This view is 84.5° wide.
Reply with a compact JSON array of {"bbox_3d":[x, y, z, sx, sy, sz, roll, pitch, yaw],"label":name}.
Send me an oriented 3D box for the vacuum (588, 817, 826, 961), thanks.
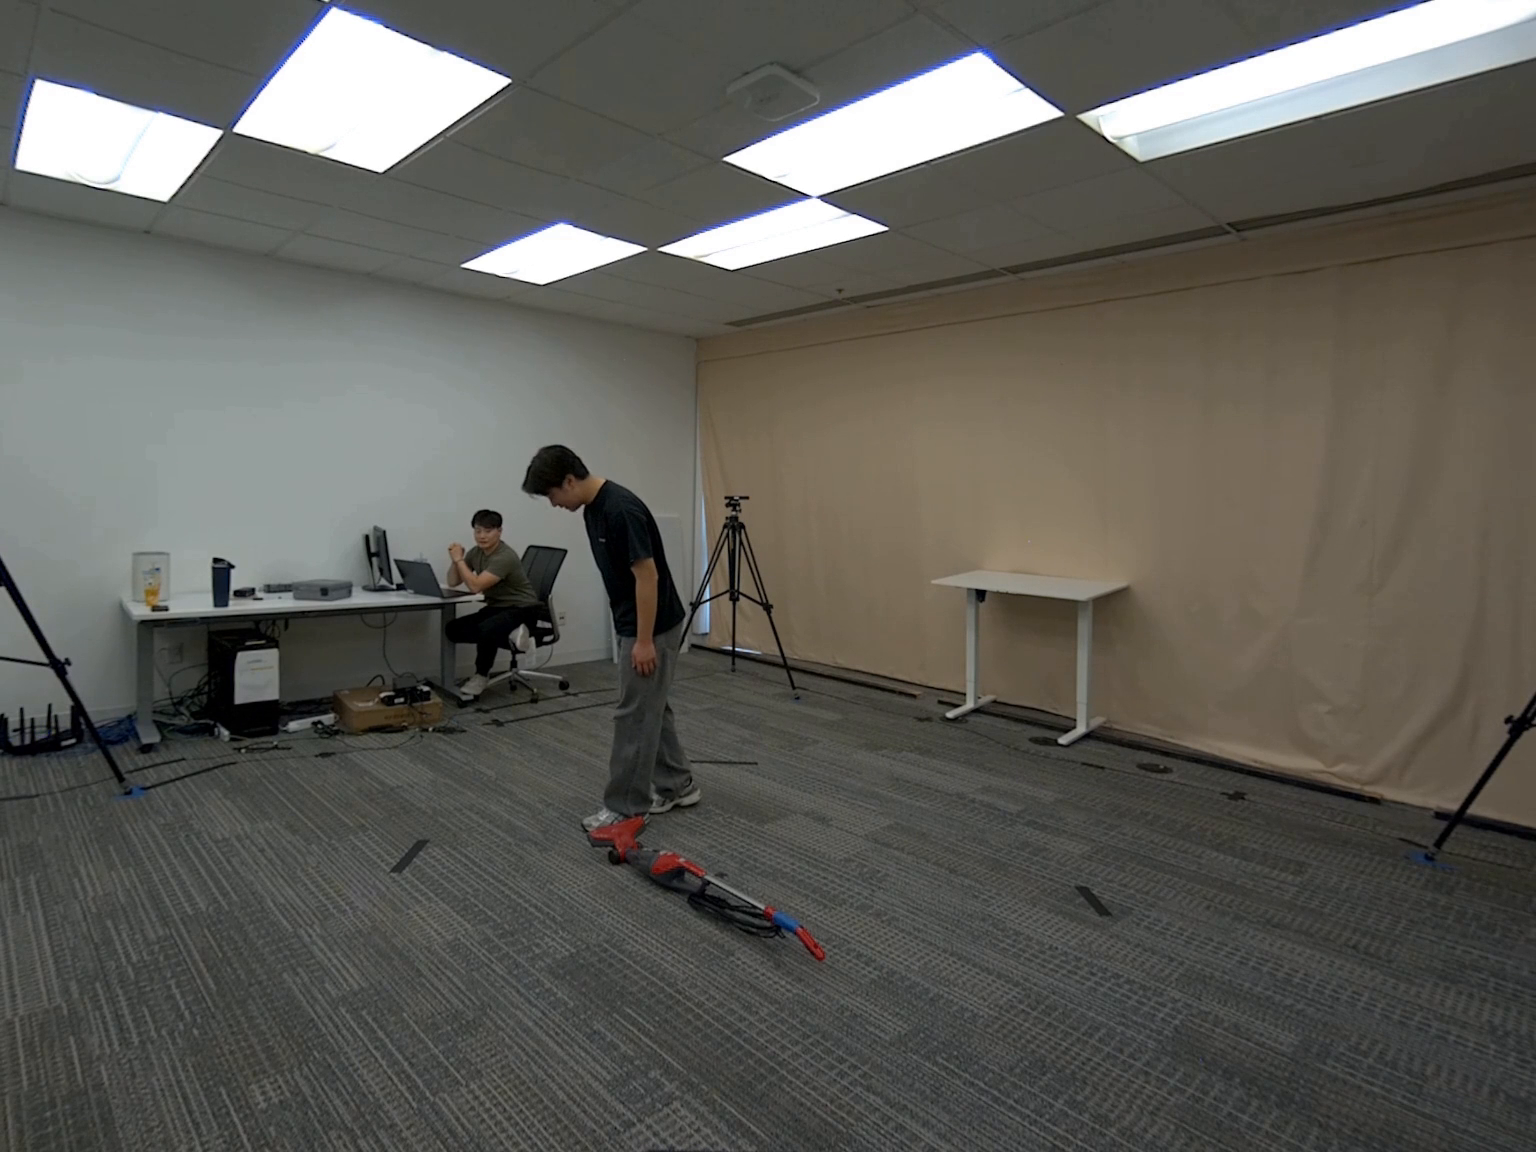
[{"bbox_3d":[-0.219,1.072,2.847,0.247,0.143,1.077,-2,7,-42],"label":"vacuum"}]
